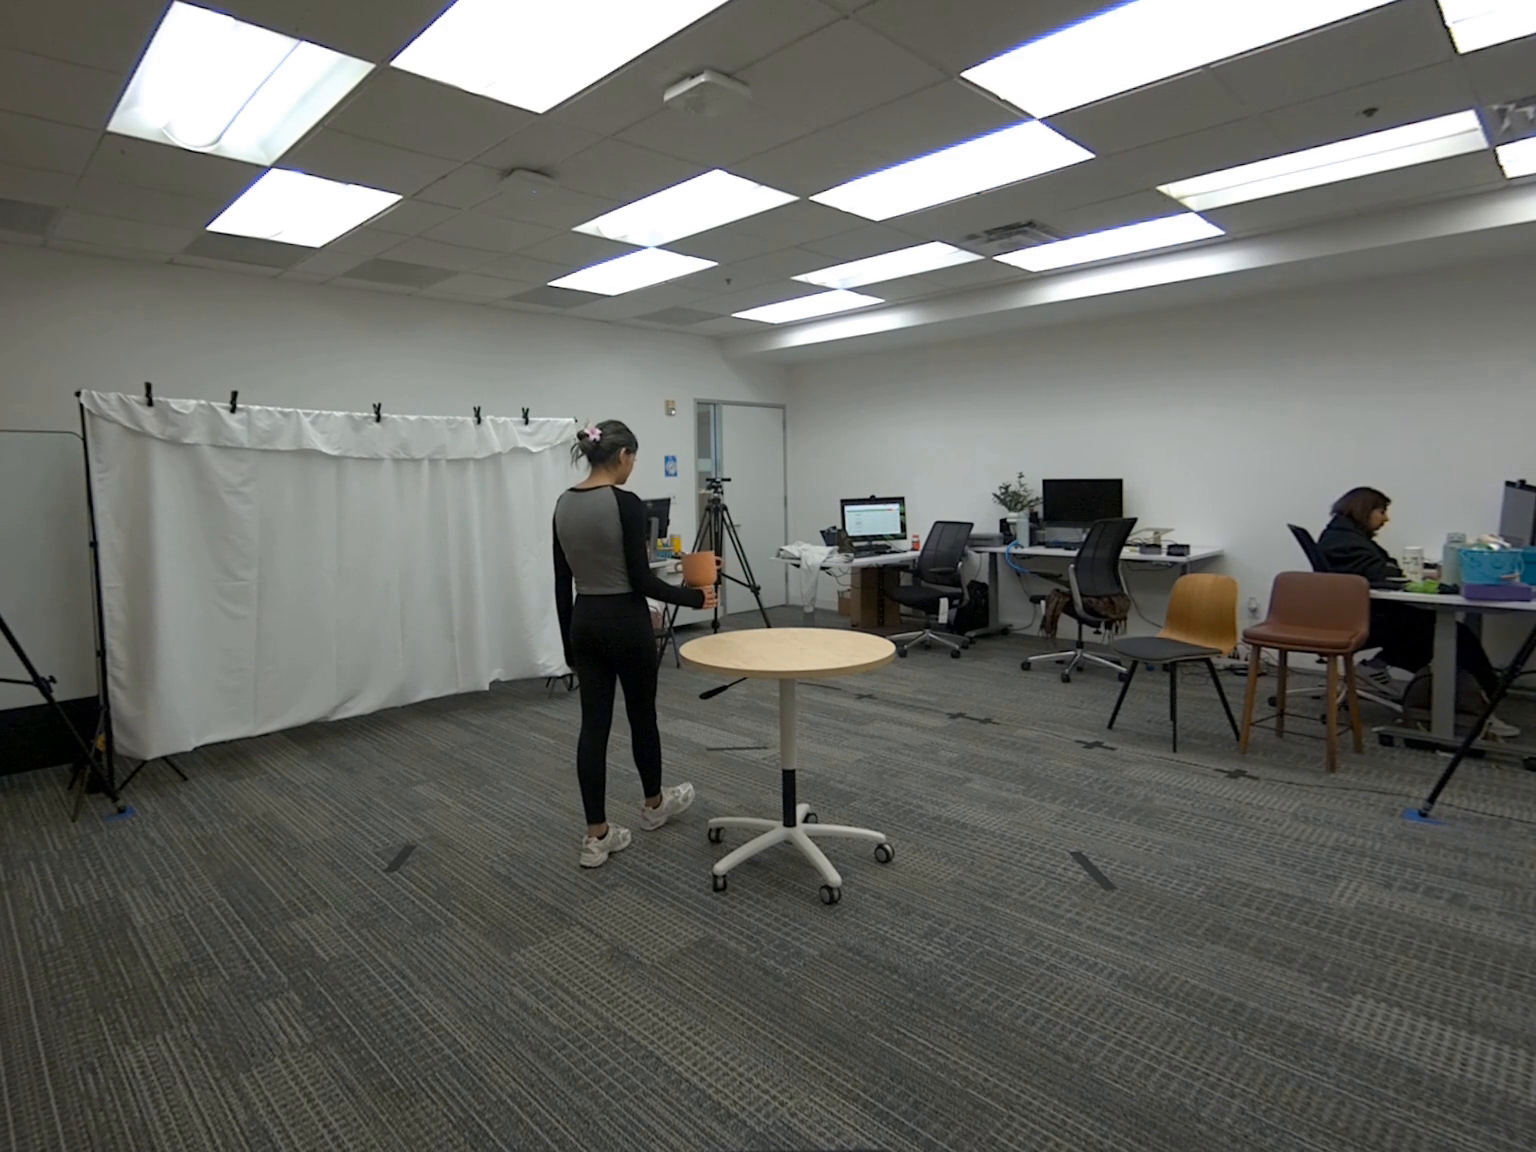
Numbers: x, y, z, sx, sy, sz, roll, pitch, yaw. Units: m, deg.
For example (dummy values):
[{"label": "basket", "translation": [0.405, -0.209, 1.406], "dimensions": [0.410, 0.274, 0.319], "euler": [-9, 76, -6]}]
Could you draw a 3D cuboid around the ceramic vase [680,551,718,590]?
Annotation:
[{"label": "ceramic vase", "translation": [-0.258, 0.016, 3.348], "dimensions": [0.163, 0.220, 0.131], "euler": [-6, 1, 44]}]
